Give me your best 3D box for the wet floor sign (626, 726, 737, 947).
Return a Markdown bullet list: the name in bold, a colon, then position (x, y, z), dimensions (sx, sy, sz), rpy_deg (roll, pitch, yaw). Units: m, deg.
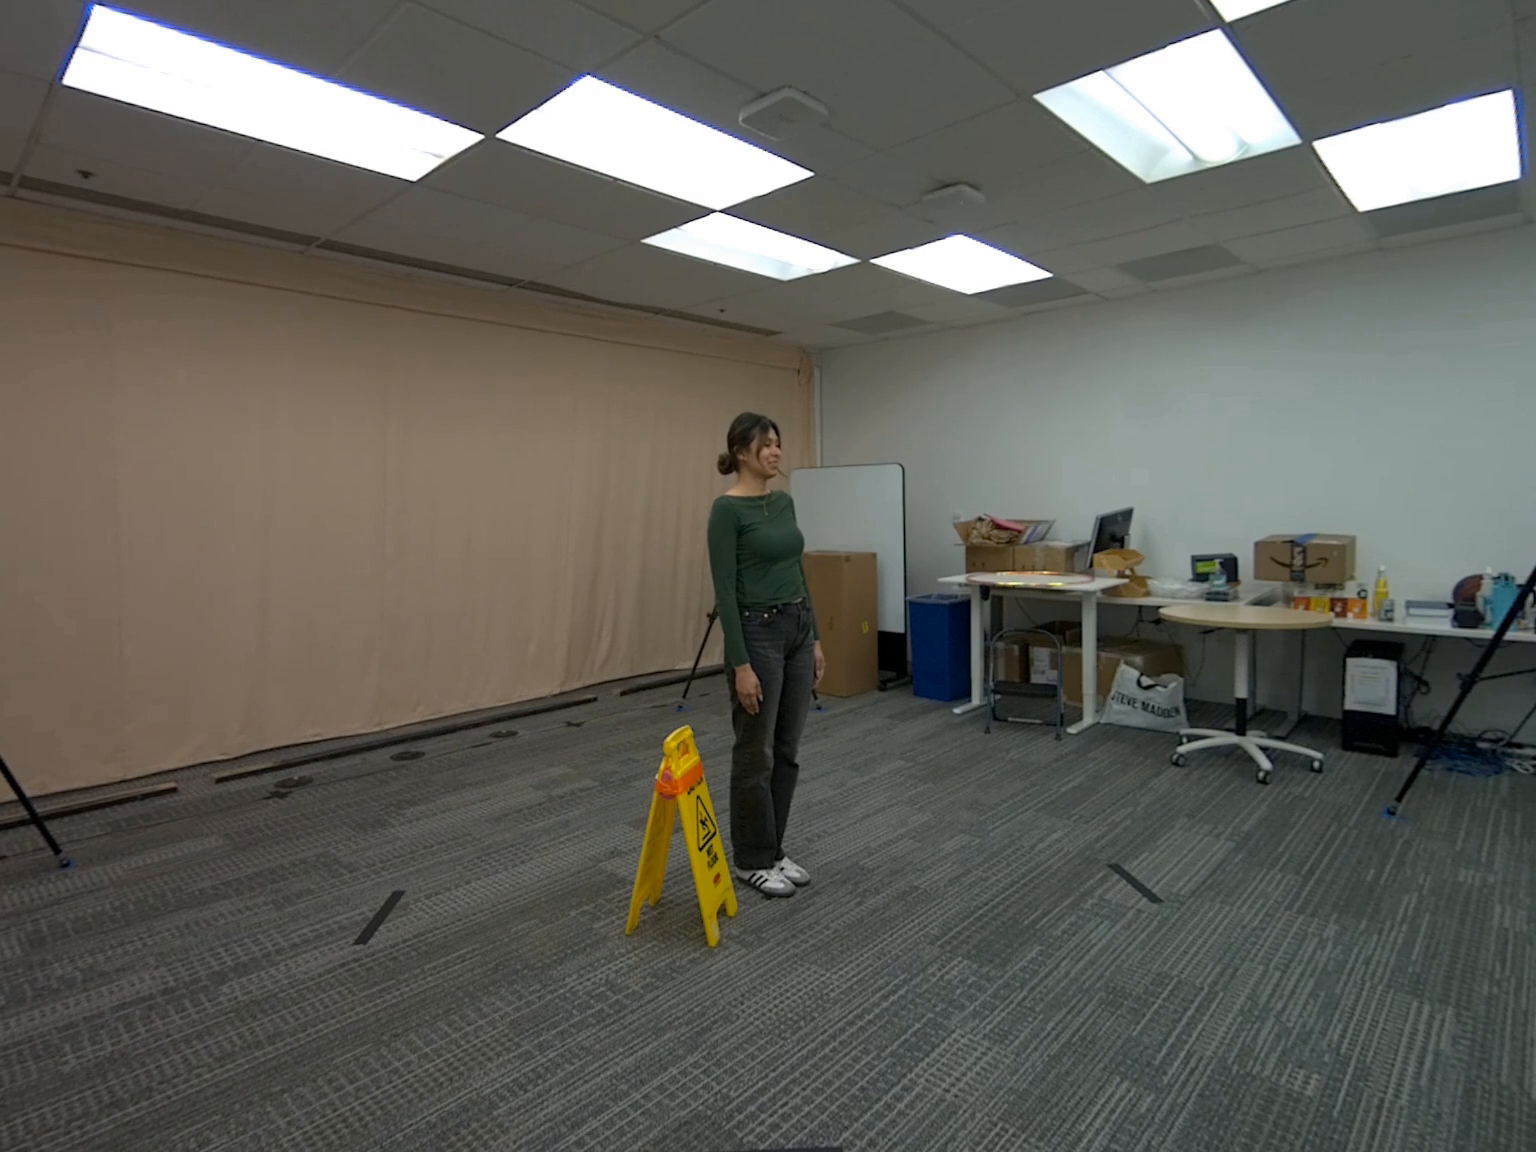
- **wet floor sign**: position (-0.288, 0.839, 2.801), dimensions (0.295, 0.644, 0.278), rpy_deg (1, 4, 17)
